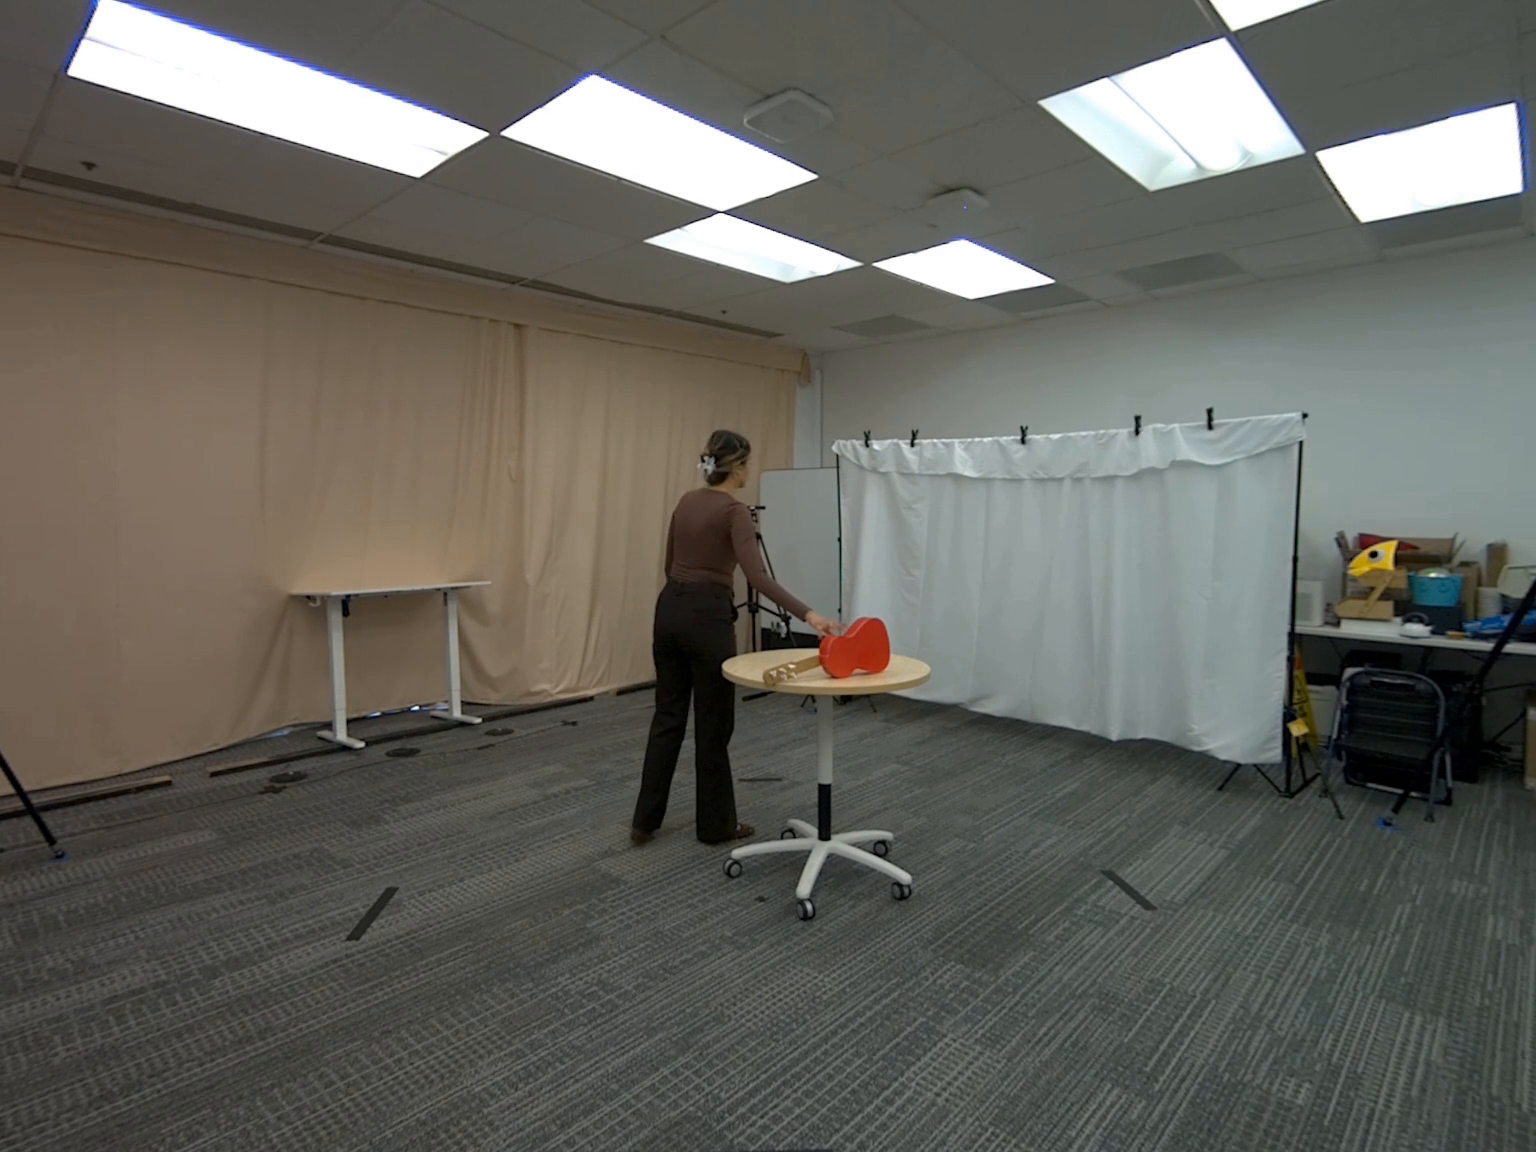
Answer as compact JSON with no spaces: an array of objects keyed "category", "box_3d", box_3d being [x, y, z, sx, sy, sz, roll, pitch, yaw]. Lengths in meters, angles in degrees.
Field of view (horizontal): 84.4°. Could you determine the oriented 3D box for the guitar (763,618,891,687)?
[{"category":"guitar","box_3d":[0.221,0.313,2.899,0.489,0.191,0.072,-25,12,-27]}]
